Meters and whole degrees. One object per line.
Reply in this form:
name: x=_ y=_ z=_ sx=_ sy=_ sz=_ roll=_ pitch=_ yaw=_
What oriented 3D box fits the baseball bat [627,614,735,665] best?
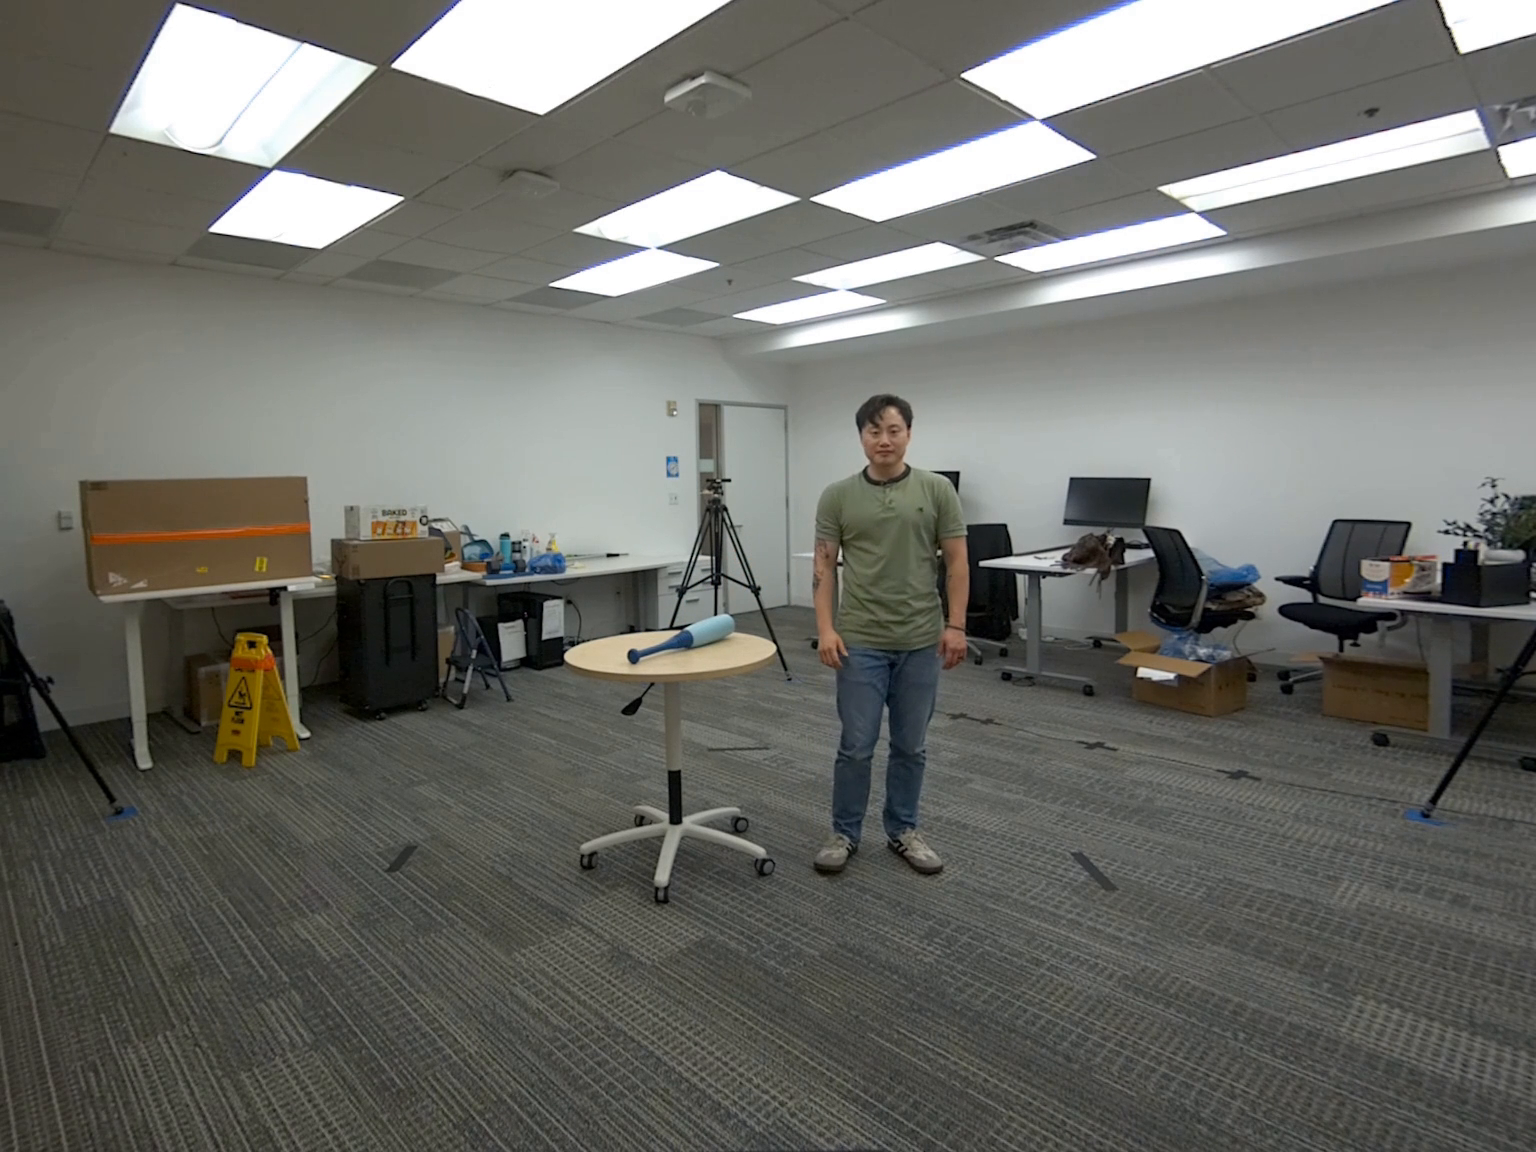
baseball bat: x=-0.303 y=0.230 z=3.081 sx=0.091 sy=0.088 sz=0.532 roll=2 pitch=11 yaw=34
